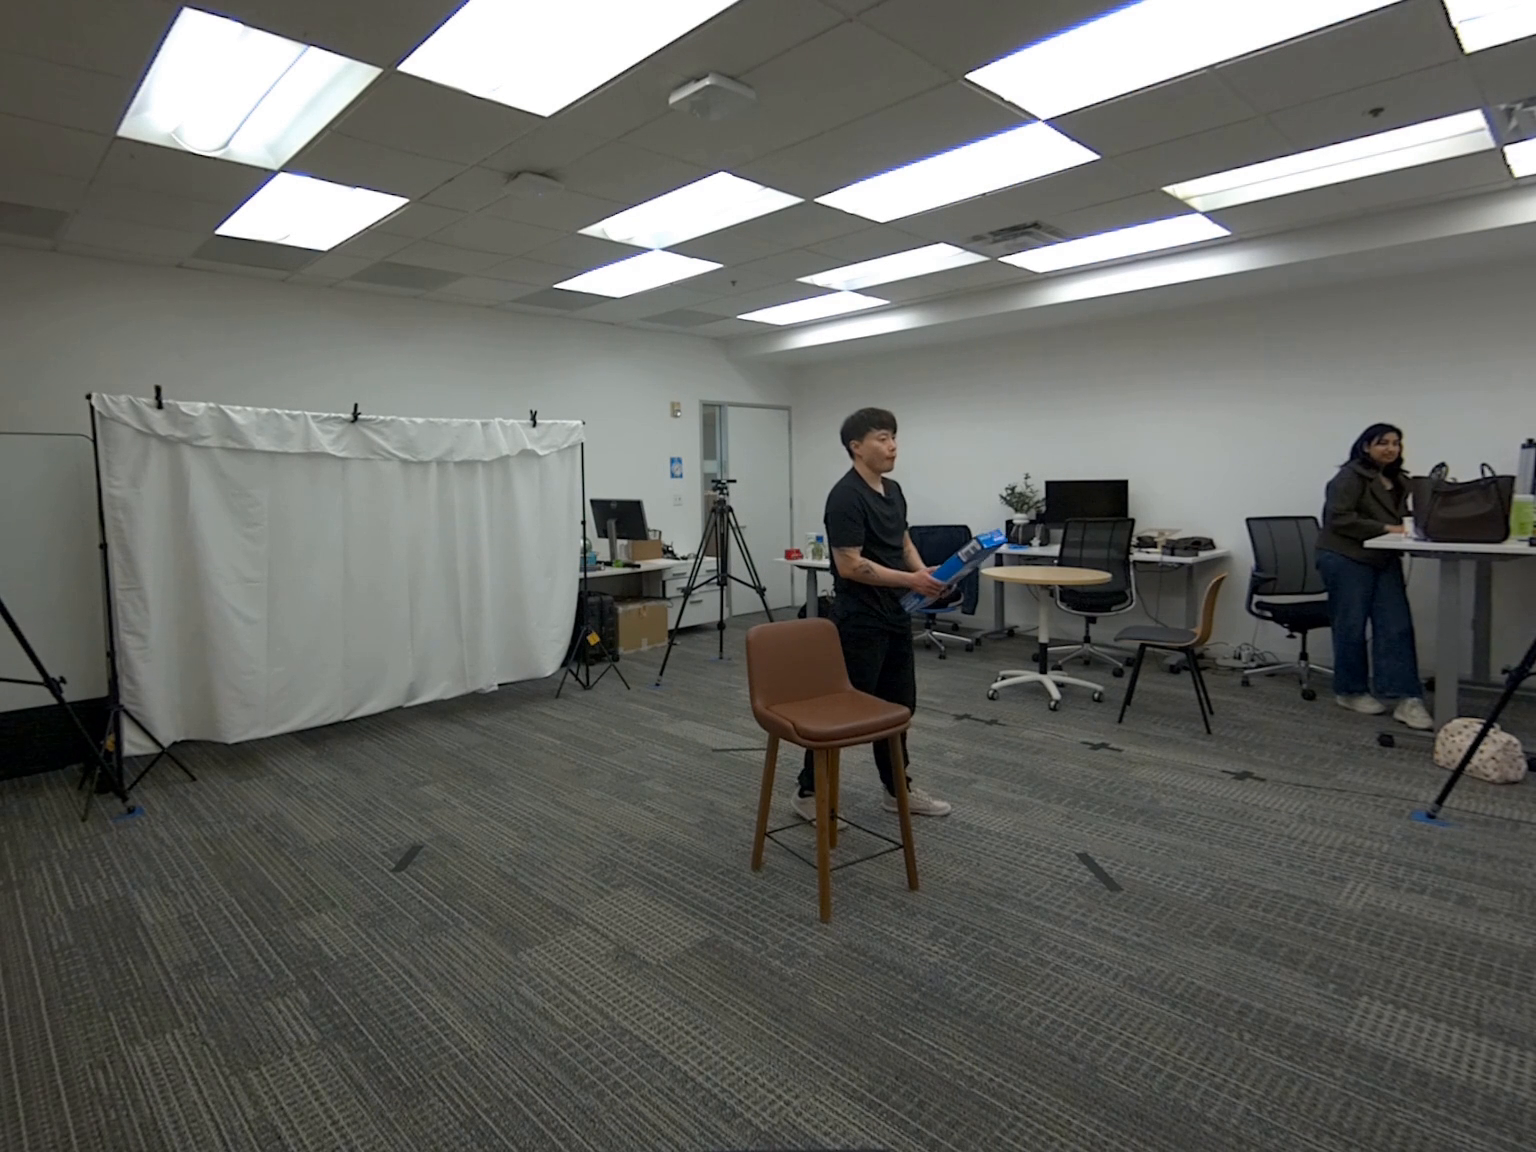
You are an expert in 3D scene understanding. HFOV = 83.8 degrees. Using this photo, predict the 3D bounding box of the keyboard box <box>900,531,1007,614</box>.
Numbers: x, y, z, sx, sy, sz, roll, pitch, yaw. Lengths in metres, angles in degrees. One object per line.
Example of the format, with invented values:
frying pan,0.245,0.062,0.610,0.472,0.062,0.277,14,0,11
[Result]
keyboard box,0.699,-0.011,3.235,0.172,0.060,0.436,-13,-25,-46
